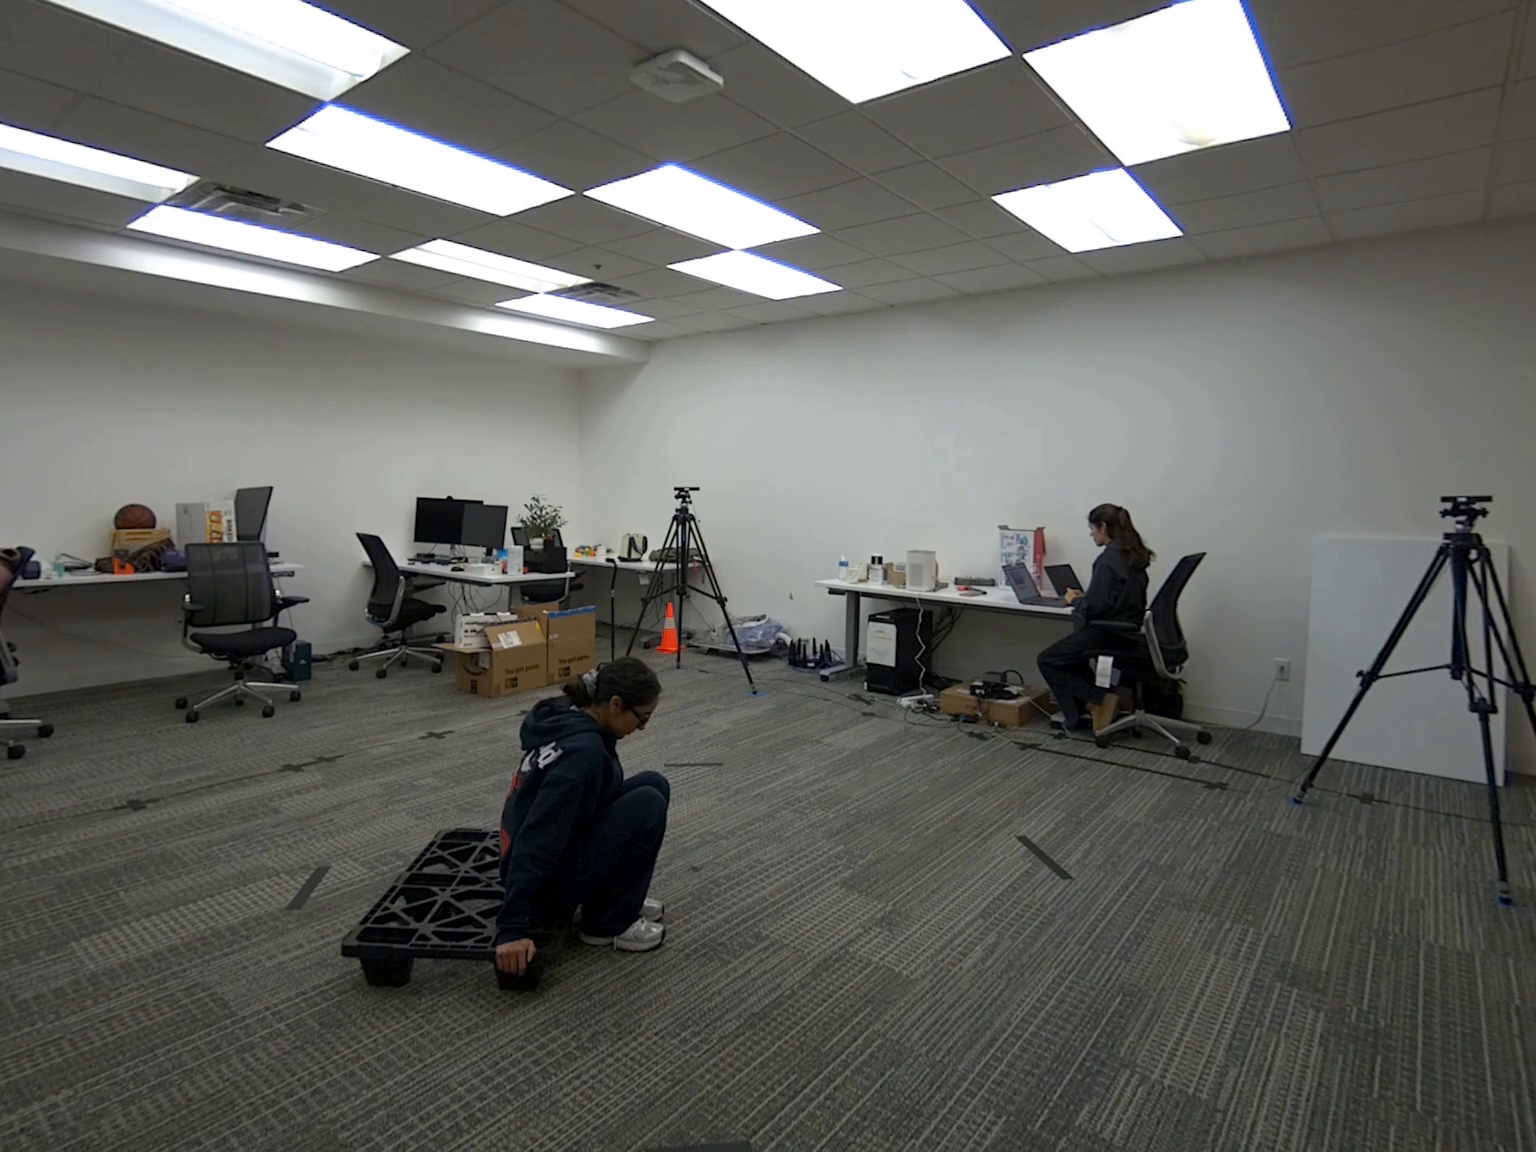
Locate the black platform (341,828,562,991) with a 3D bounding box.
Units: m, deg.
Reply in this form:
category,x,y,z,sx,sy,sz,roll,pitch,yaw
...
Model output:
category,x,y,z,sx,sy,sz,roll,pitch,yaw
black platform,-0.904,1.028,2.708,0.605,0.143,0.808,-1,5,-1
